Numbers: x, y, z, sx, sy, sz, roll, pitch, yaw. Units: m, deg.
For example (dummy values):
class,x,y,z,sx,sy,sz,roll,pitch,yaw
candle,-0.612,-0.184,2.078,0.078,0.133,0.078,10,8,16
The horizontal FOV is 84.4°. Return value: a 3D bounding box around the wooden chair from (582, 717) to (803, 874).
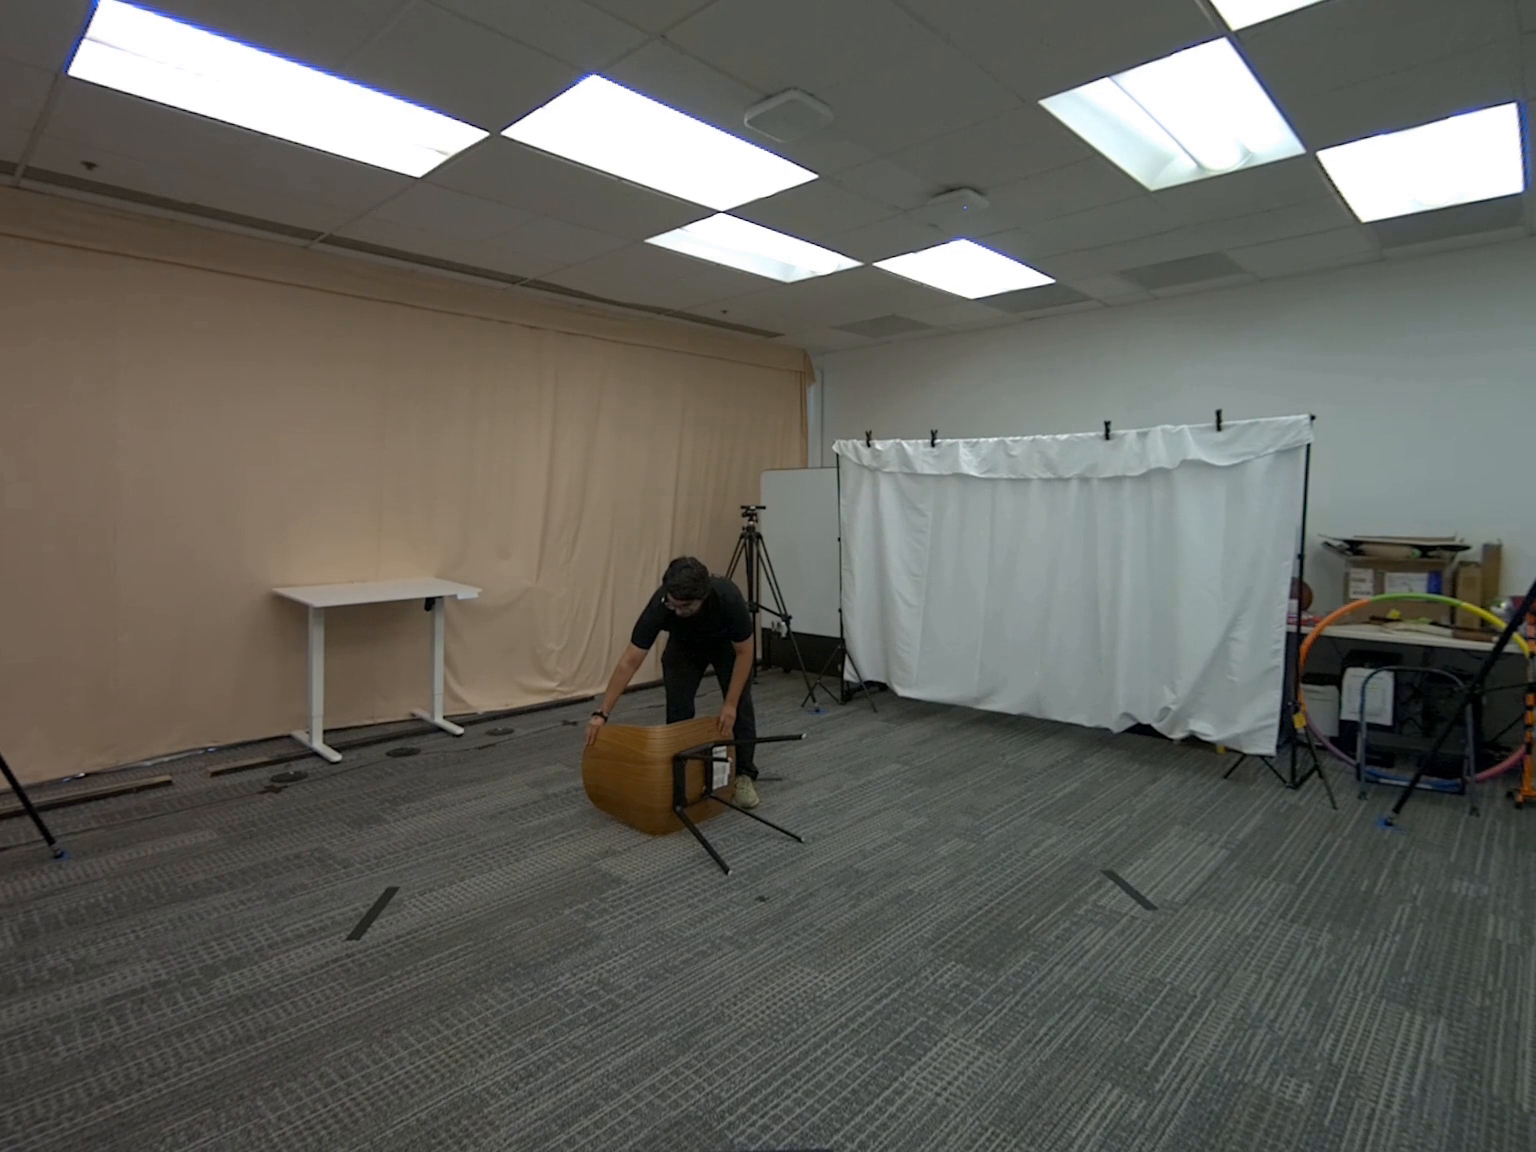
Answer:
class,x,y,z,sx,sy,sz,roll,pitch,yaw
wooden chair,-0.315,0.862,3.617,0.906,0.477,0.508,3,5,38
